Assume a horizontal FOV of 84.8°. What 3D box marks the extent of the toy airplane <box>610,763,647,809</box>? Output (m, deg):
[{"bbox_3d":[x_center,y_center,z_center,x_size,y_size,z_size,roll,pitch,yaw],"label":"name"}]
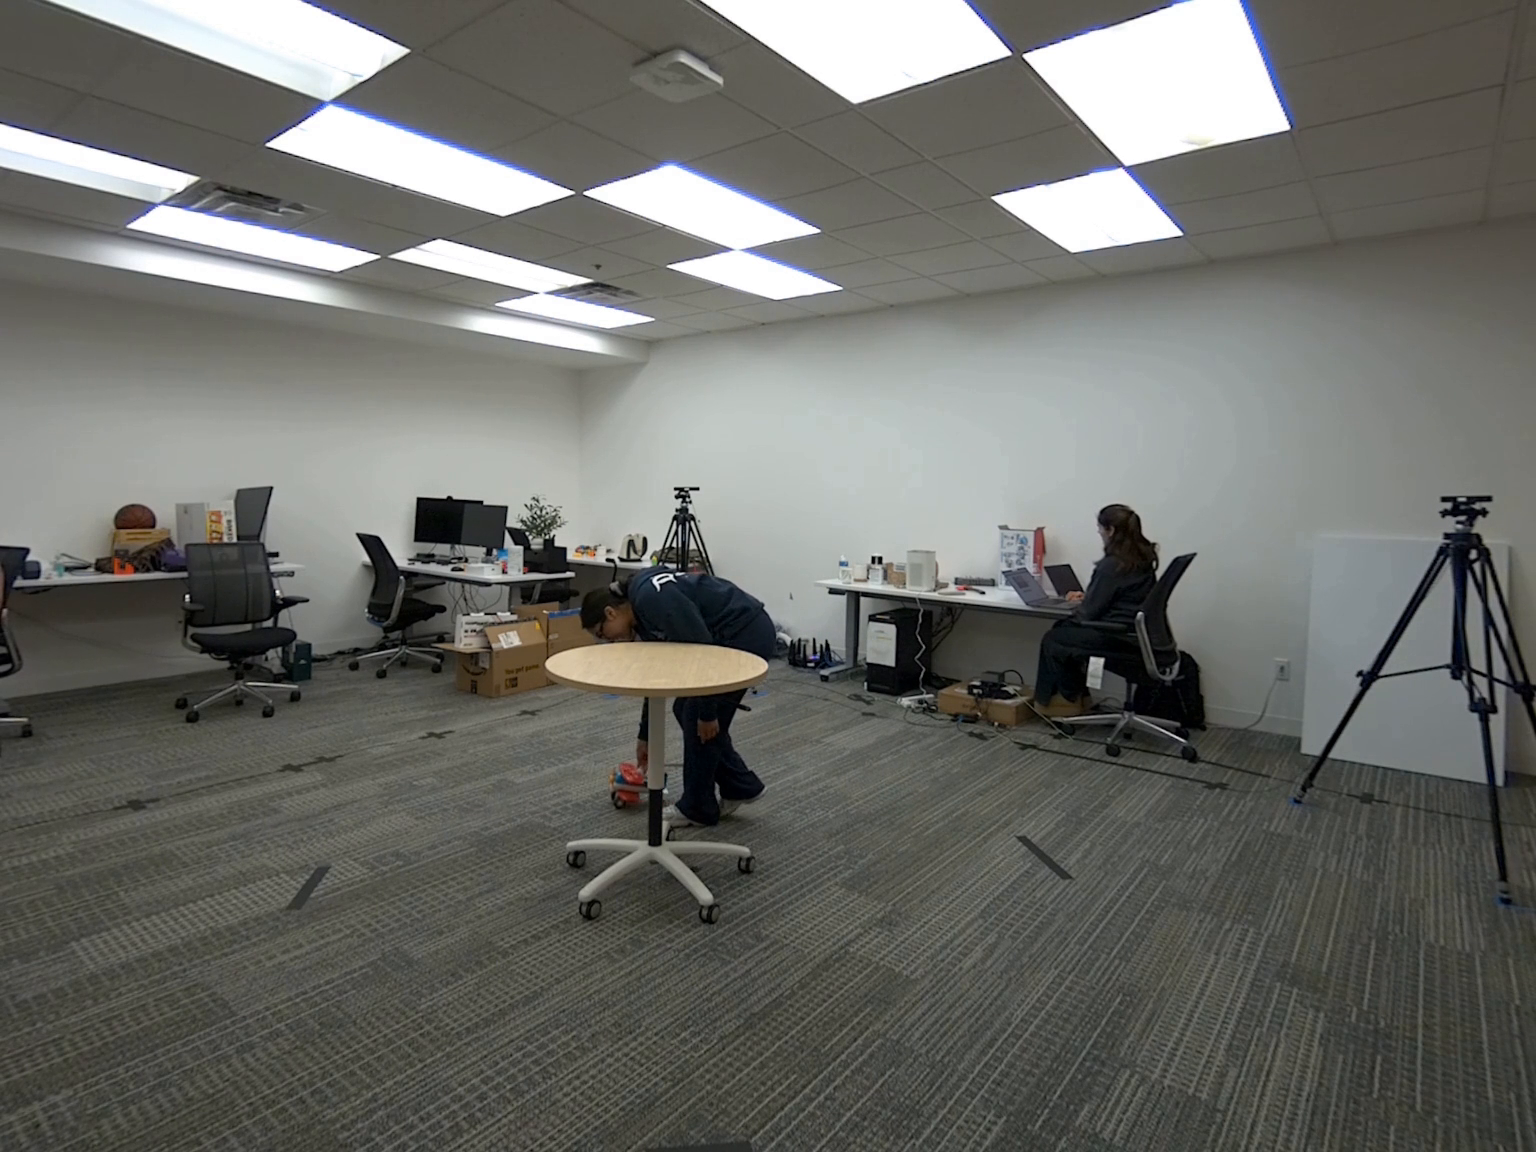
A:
[{"bbox_3d":[-0.596,0.925,3.761,0.251,0.156,0.260,-3,7,-44],"label":"toy airplane"}]
